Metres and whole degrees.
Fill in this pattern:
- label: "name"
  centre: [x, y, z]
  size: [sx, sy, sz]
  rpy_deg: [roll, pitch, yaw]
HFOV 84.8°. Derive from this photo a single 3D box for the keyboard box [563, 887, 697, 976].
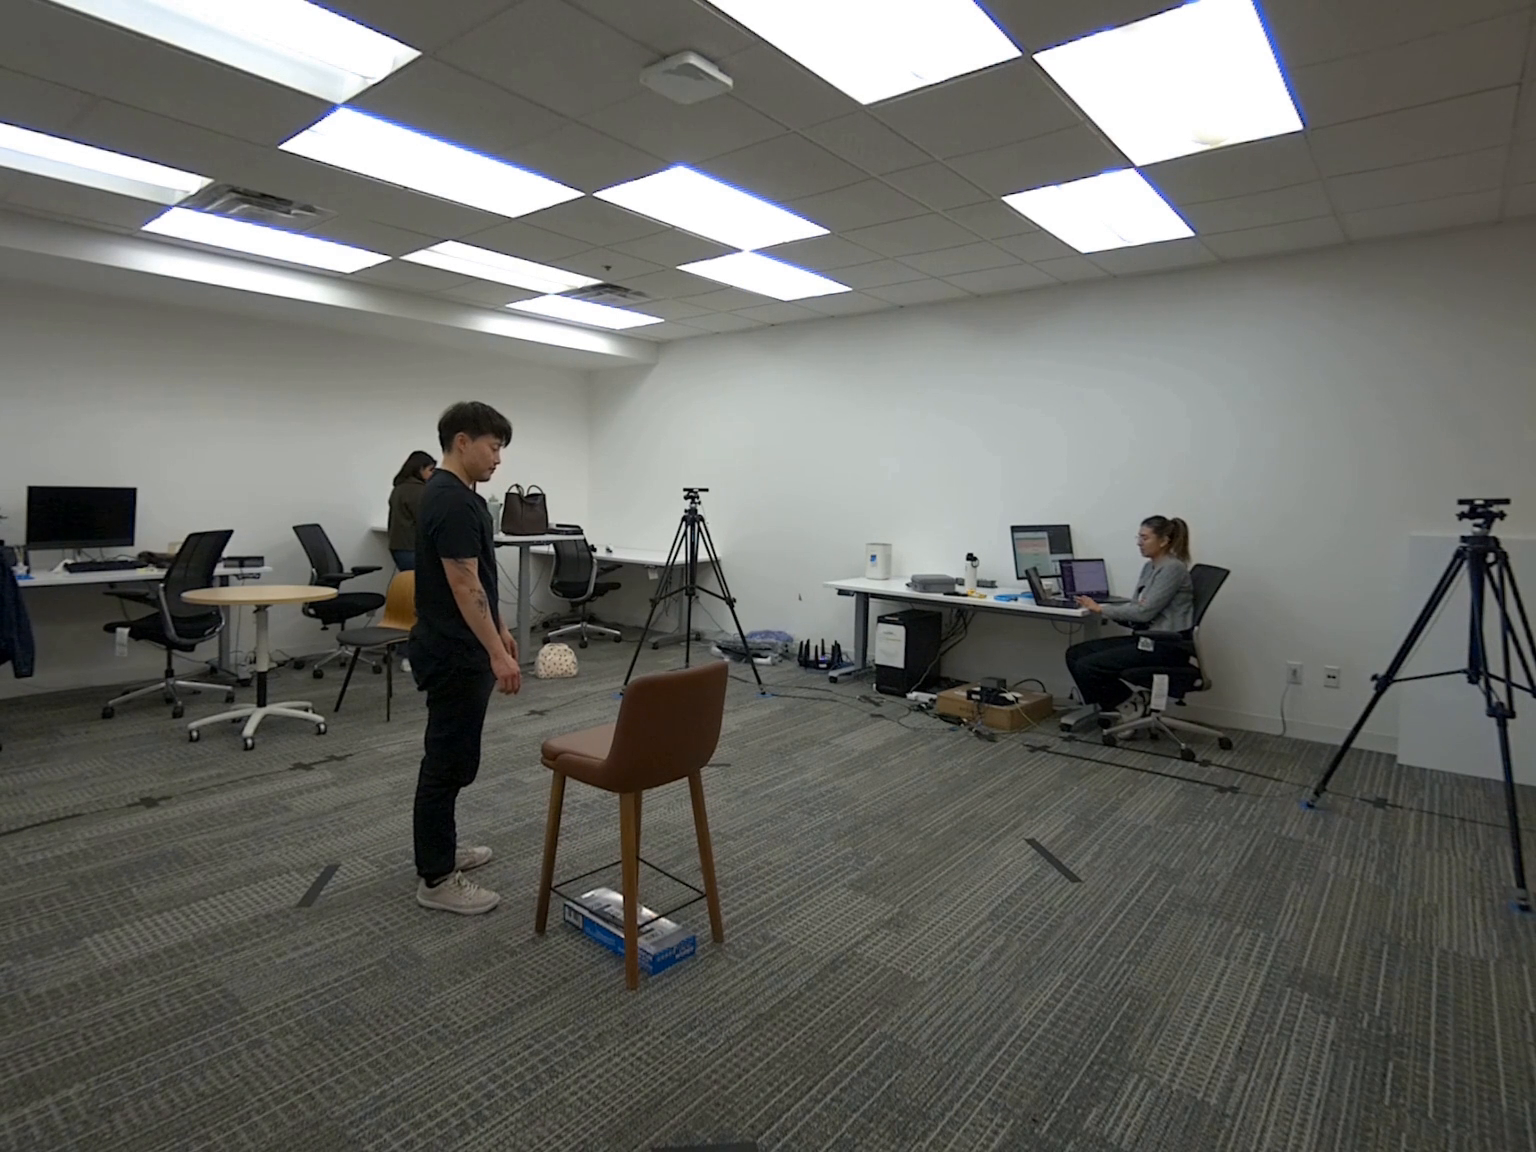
- label: "keyboard box"
  centre: [-0.445, 1.092, 2.624]
  size: [0.452, 0.059, 0.171]
  rpy_deg: [7, 8, 43]
